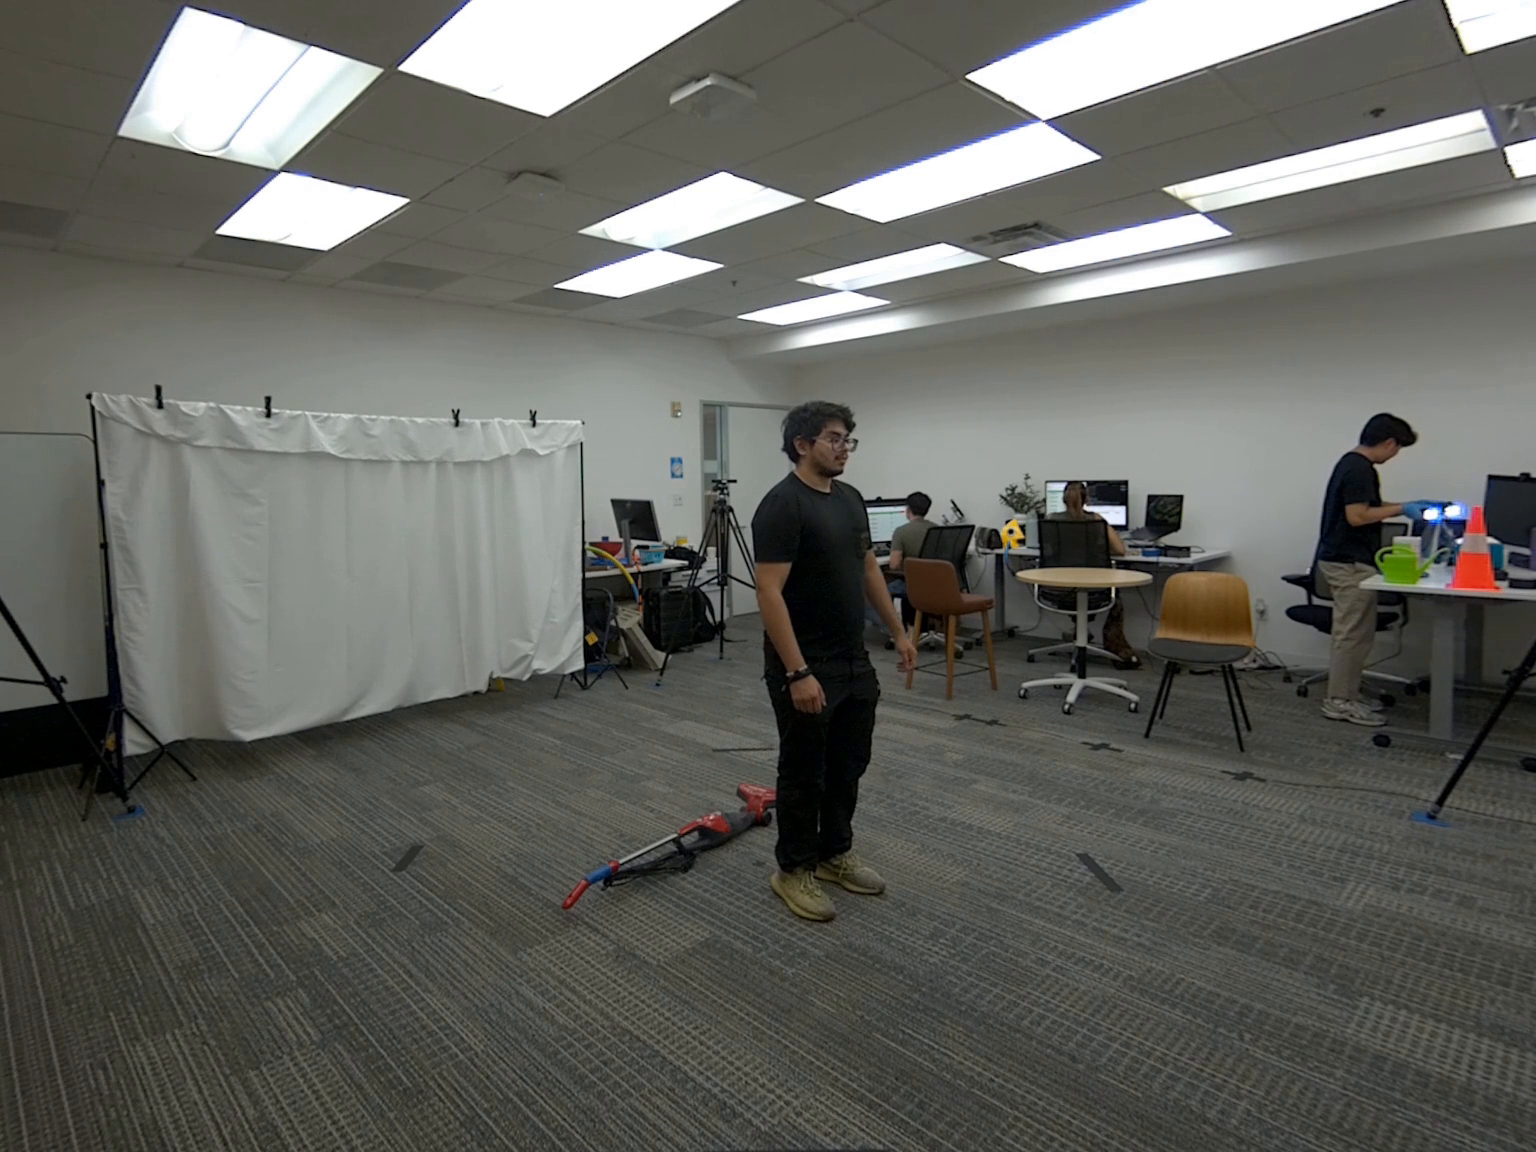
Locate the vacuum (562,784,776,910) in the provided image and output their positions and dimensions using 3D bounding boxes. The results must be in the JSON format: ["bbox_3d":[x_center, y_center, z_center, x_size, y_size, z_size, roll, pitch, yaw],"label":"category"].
[{"bbox_3d":[-0.331,0.994,3.112,0.260,0.143,1.024,3,8,37],"label":"vacuum"}]
